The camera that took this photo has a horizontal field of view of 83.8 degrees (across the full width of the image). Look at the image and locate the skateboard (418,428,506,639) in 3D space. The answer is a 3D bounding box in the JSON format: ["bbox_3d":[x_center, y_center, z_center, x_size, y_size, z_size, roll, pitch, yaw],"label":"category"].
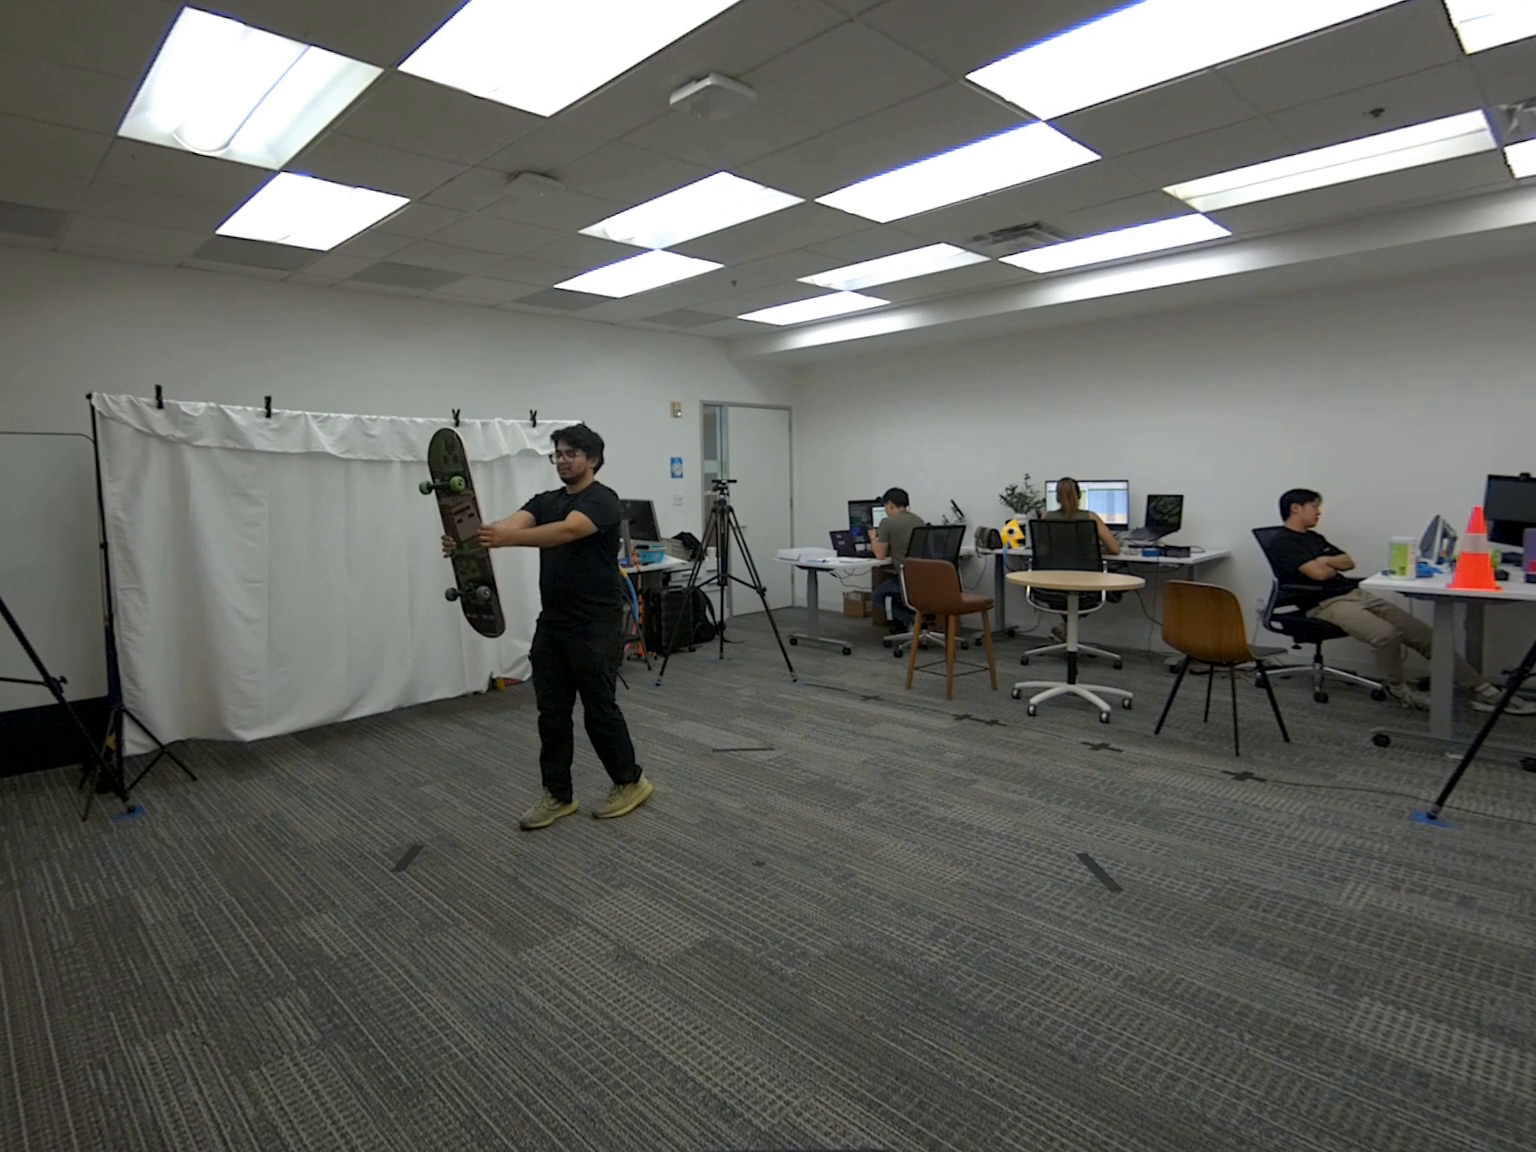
[{"bbox_3d":[-1.101,-0.133,3.070,0.198,0.776,0.109,-3,13,29],"label":"skateboard"}]
